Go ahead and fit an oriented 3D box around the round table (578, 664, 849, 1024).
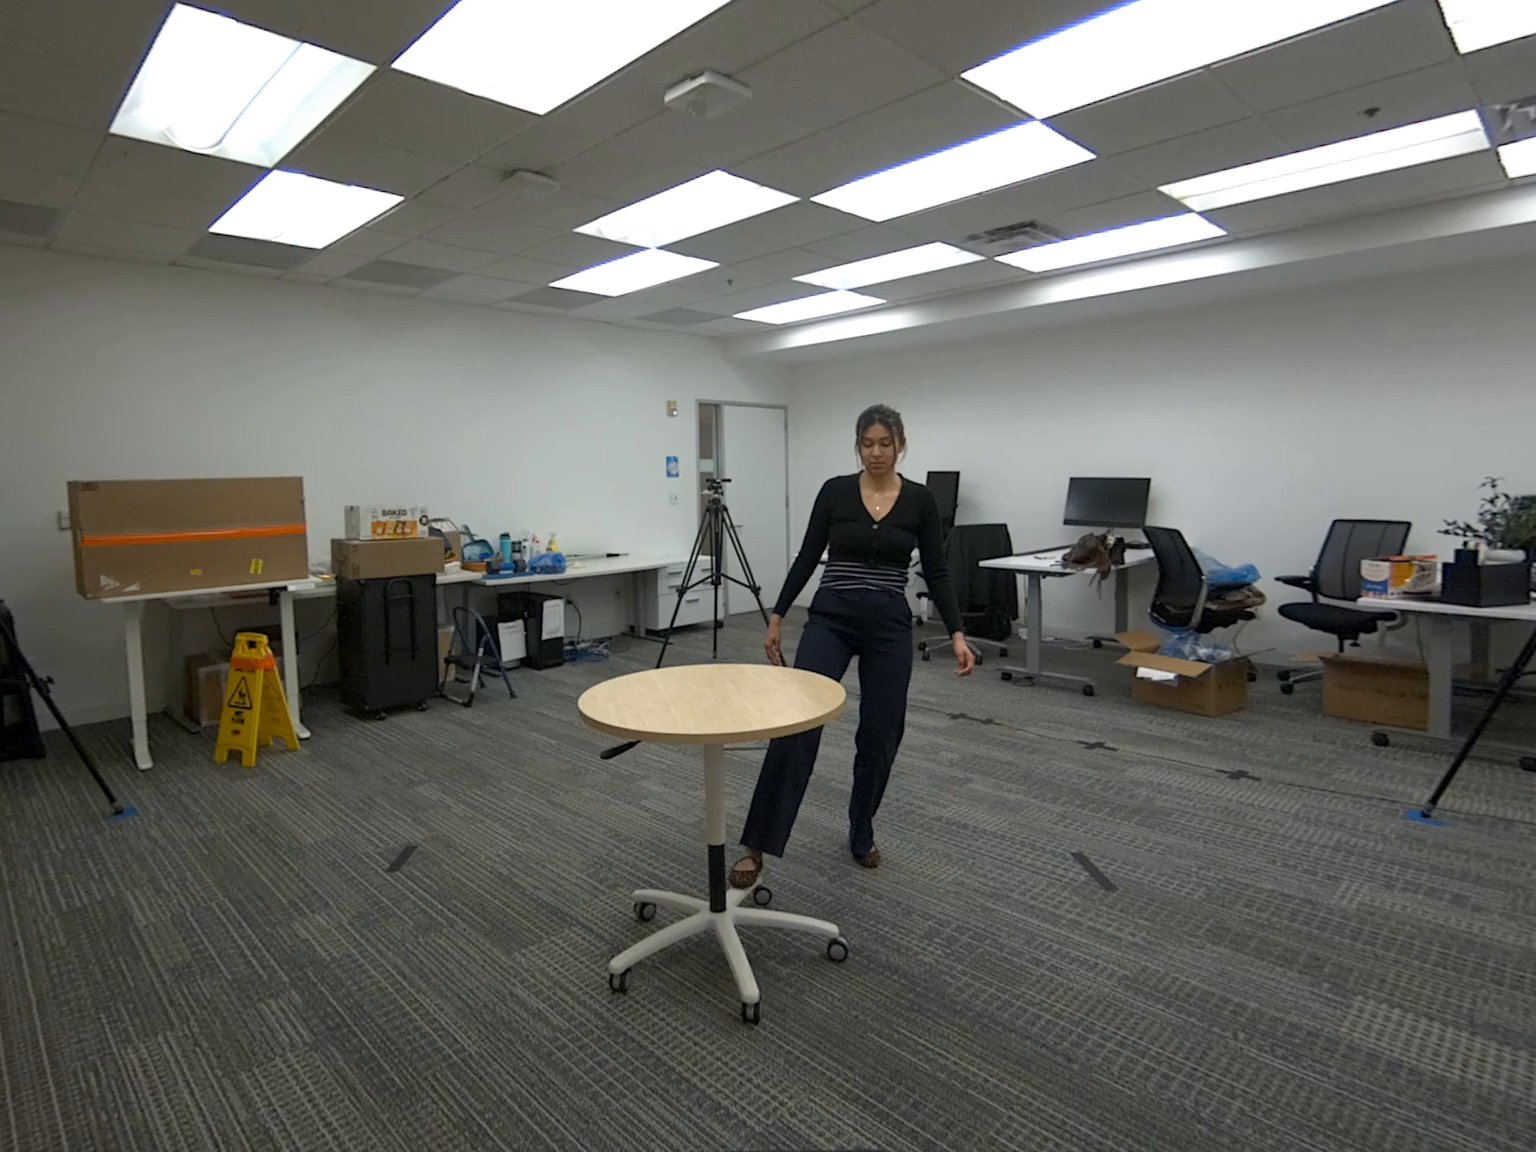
[{"bbox_3d":[-0.143,0.731,2.490,0.763,0.790,0.768,-2,5,-2],"label":"round table"}]
